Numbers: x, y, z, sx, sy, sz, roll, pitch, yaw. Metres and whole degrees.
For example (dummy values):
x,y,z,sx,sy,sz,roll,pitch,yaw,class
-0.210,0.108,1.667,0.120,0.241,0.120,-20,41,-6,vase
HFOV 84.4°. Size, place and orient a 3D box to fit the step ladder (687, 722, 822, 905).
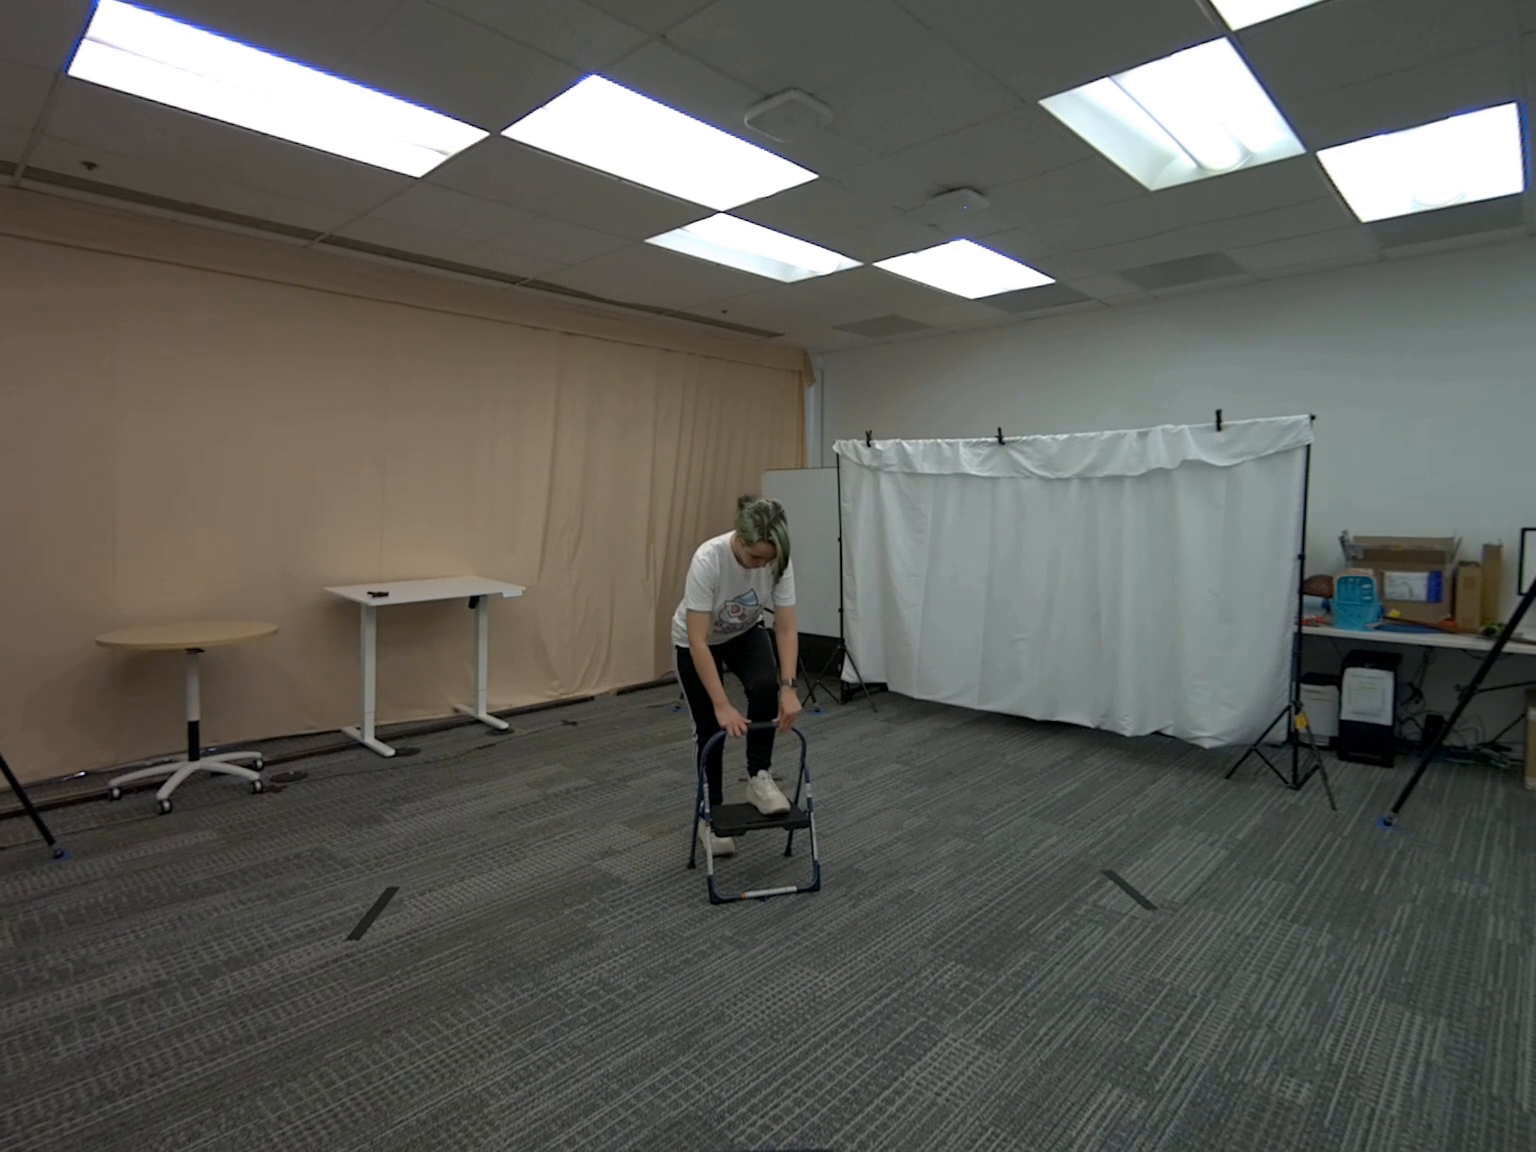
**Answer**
x,y,z,sx,sy,sz,roll,pitch,yaw,class
-0.054,0.834,3.134,0.423,0.605,0.356,-1,3,-18,step ladder
